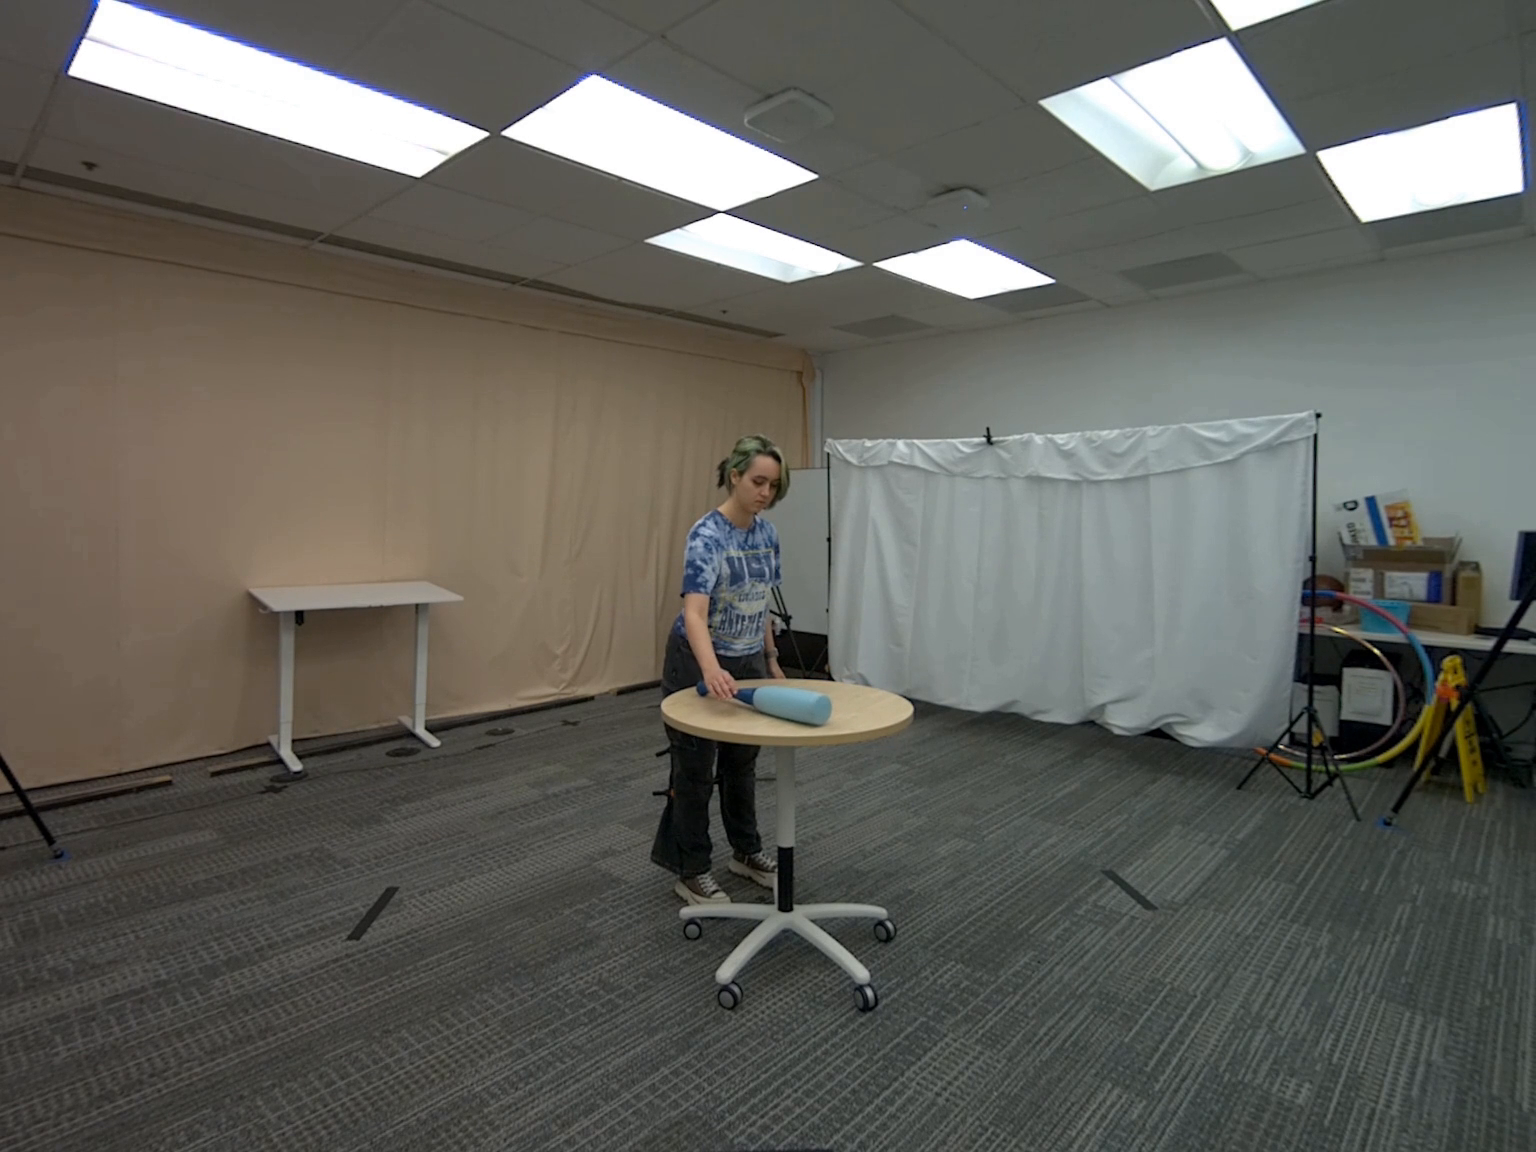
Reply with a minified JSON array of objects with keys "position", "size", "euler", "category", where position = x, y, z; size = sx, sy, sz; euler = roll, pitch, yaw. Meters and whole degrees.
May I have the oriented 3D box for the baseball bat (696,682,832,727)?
[{"position":[-0.033,0.368,2.489],"size":[0.086,0.089,0.560],"euler":[-3,2,-42],"category":"baseball bat"}]
